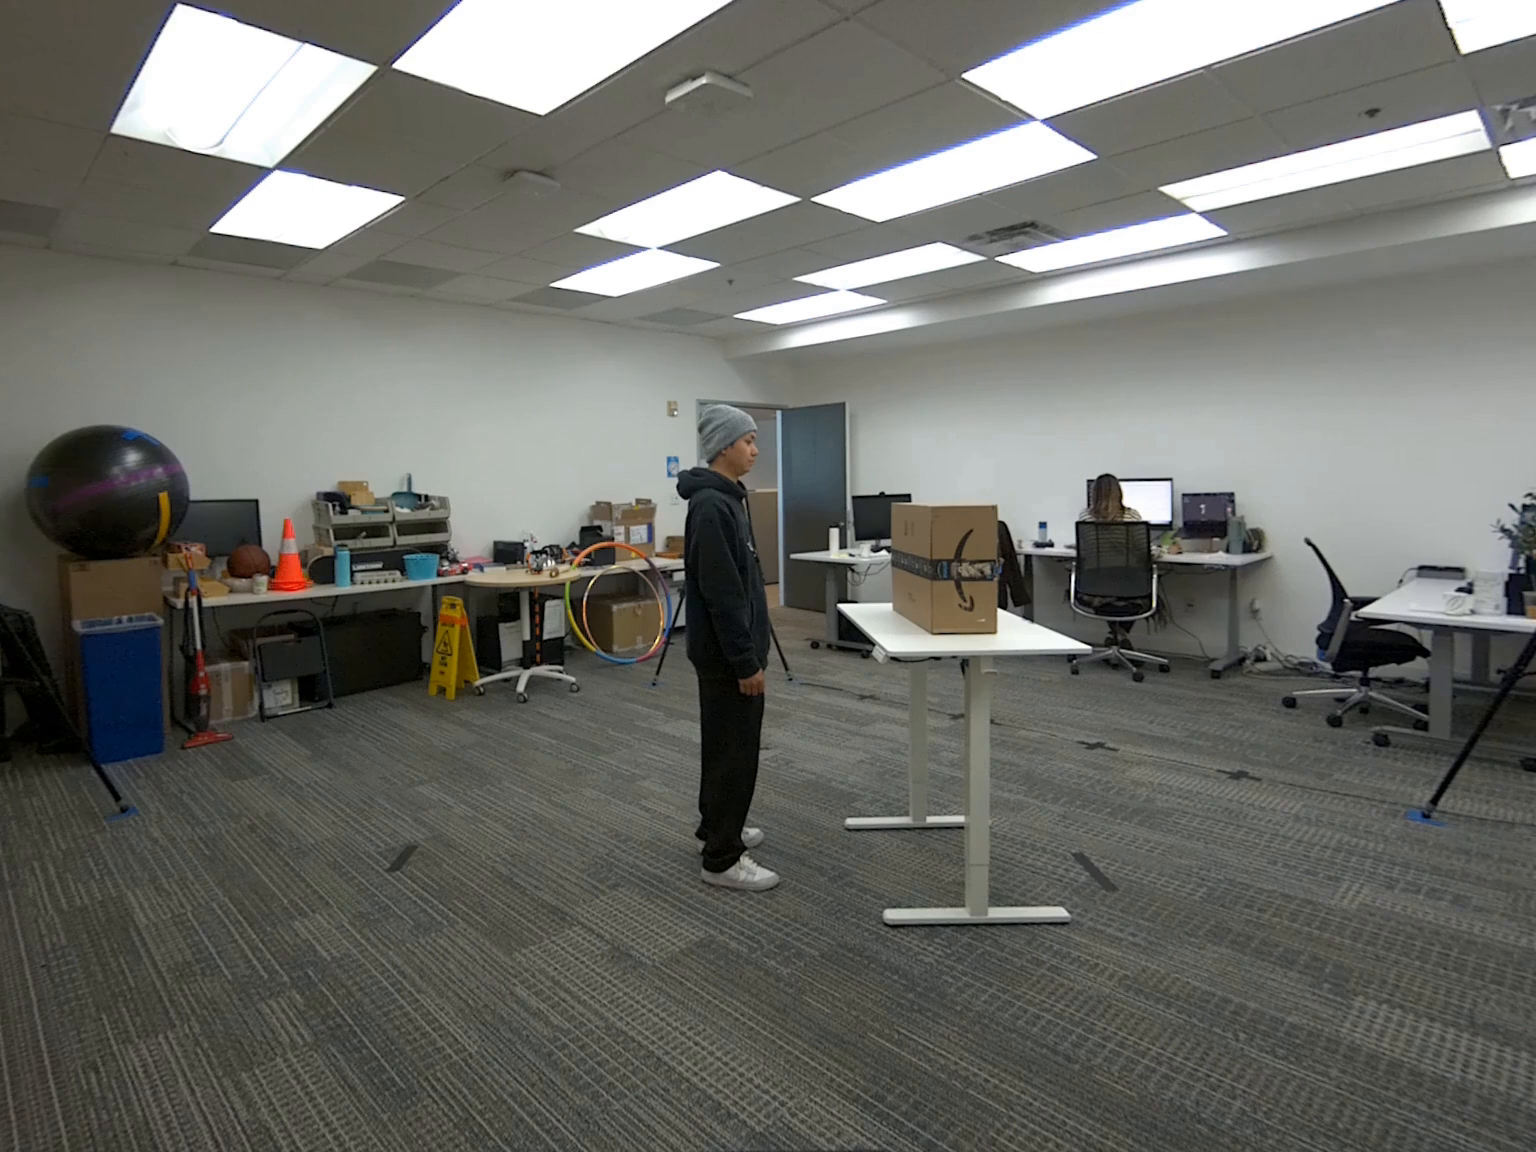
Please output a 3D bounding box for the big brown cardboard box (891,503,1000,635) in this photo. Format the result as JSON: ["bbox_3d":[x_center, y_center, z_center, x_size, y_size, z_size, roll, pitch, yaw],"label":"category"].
[{"bbox_3d":[0.606,-0.049,3.018,0.232,0.416,0.593,0,5,-5],"label":"big brown cardboard box"}]
